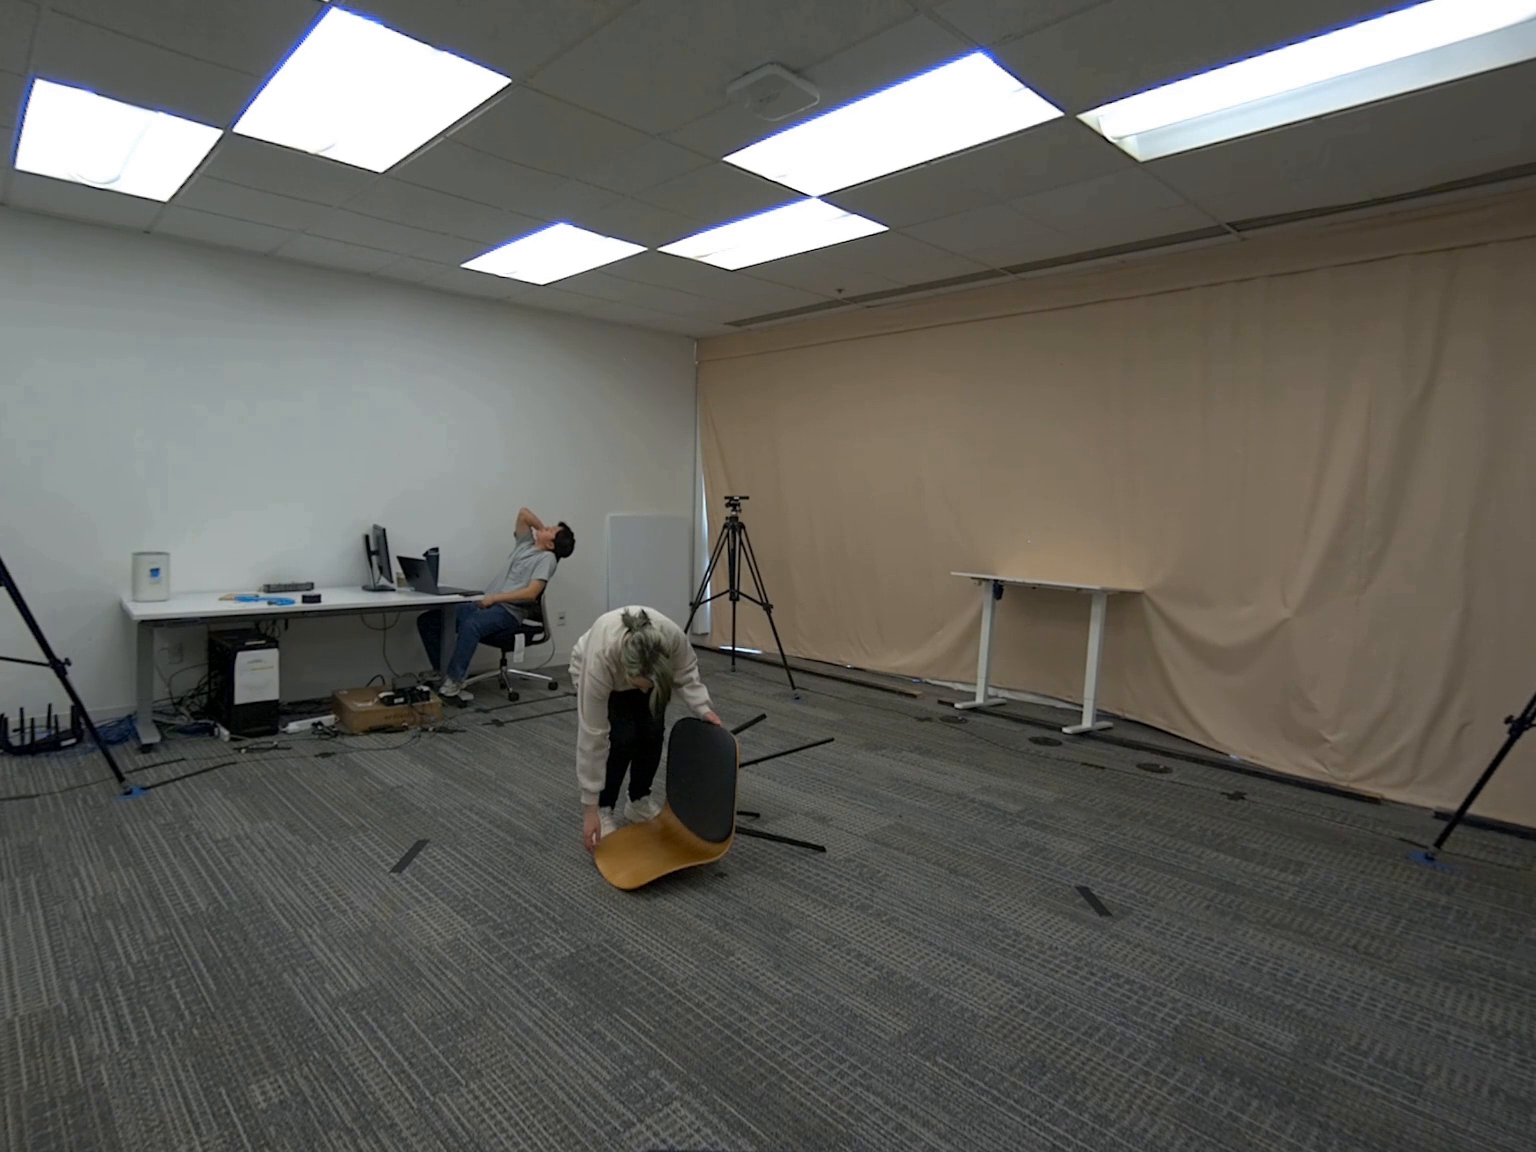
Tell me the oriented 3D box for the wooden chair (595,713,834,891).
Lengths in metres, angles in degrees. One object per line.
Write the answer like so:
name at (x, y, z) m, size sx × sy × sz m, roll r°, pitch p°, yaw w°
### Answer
wooden chair at (-0.232, 0.831, 3.263) m, size 0.859 × 0.521 × 0.490 m, roll -4°, pitch 6°, yaw -36°
